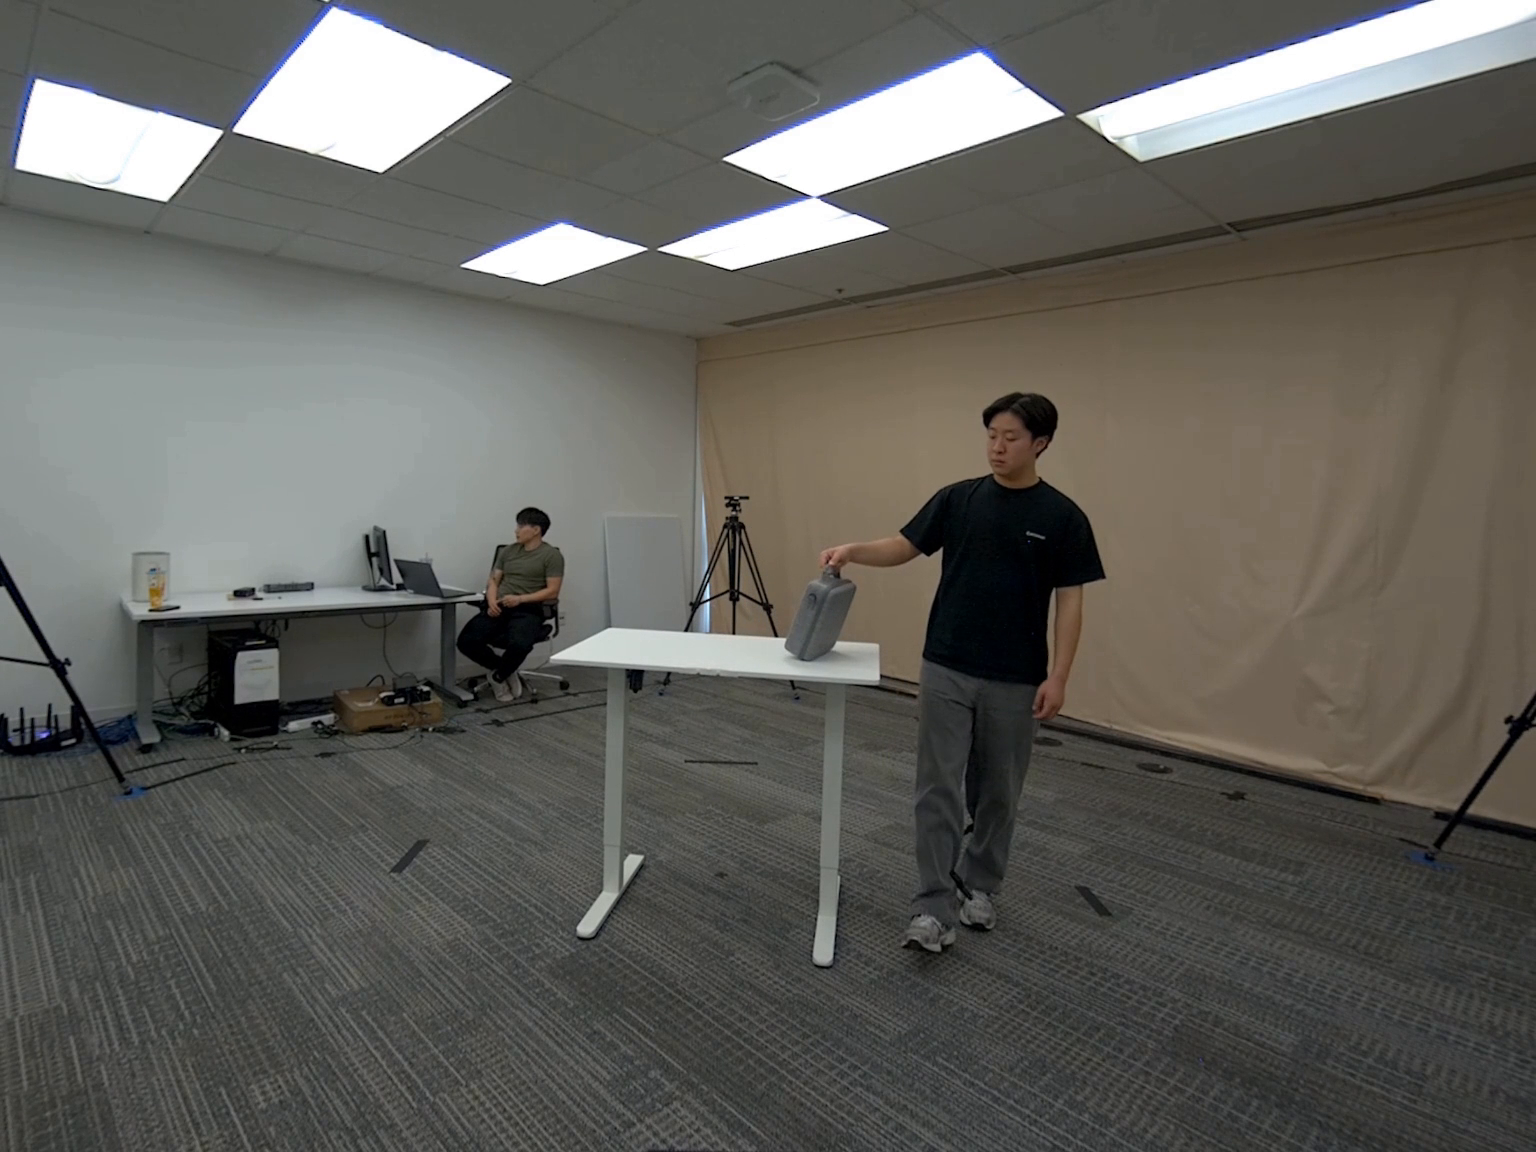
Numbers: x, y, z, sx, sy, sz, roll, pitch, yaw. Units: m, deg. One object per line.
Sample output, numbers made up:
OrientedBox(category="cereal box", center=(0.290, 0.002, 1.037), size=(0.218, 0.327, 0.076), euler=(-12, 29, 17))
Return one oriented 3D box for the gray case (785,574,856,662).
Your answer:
OrientedBox(category="gray case", center=(0.172, 0.123, 2.741), size=(0.105, 0.285, 0.259), euler=(21, 13, 20))
